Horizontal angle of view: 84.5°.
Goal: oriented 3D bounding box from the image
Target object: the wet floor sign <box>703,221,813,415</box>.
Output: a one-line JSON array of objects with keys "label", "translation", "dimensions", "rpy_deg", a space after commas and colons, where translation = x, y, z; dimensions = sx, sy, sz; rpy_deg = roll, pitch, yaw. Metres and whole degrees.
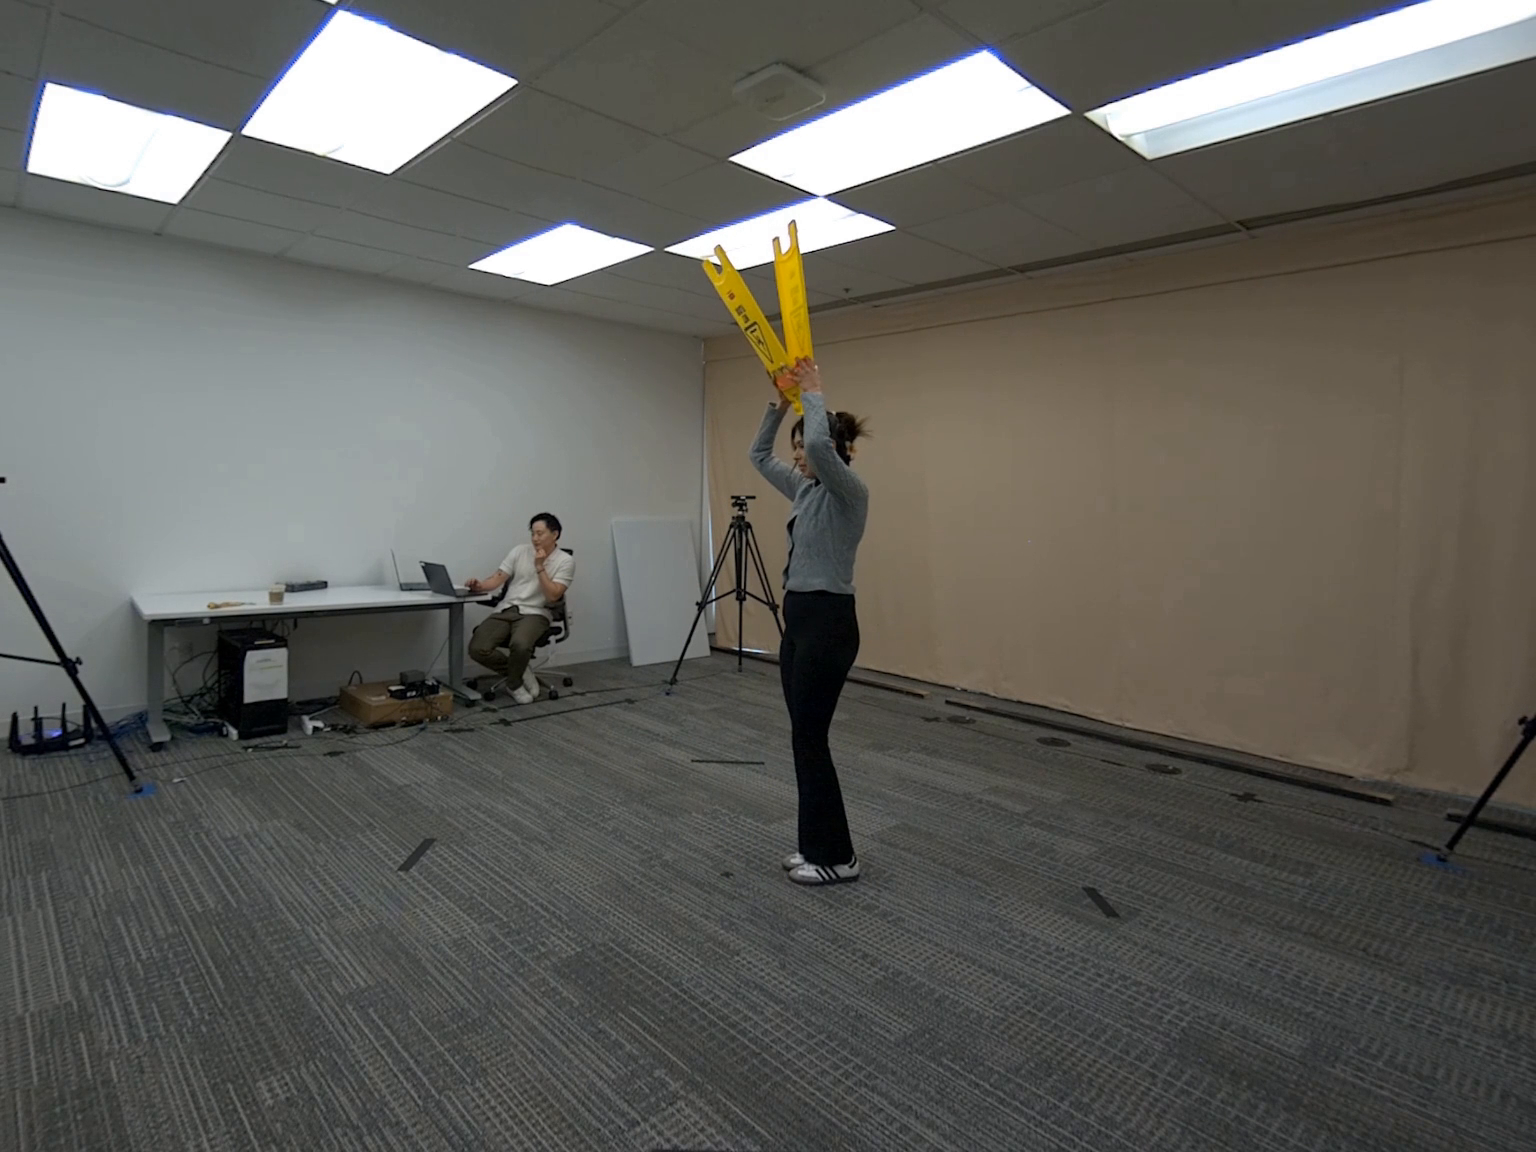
[{"label": "wet floor sign", "translation": [0.031, -0.895, 3.036], "dimensions": [0.288, 0.641, 0.286], "rpy_deg": [-23, 9, -11]}]
